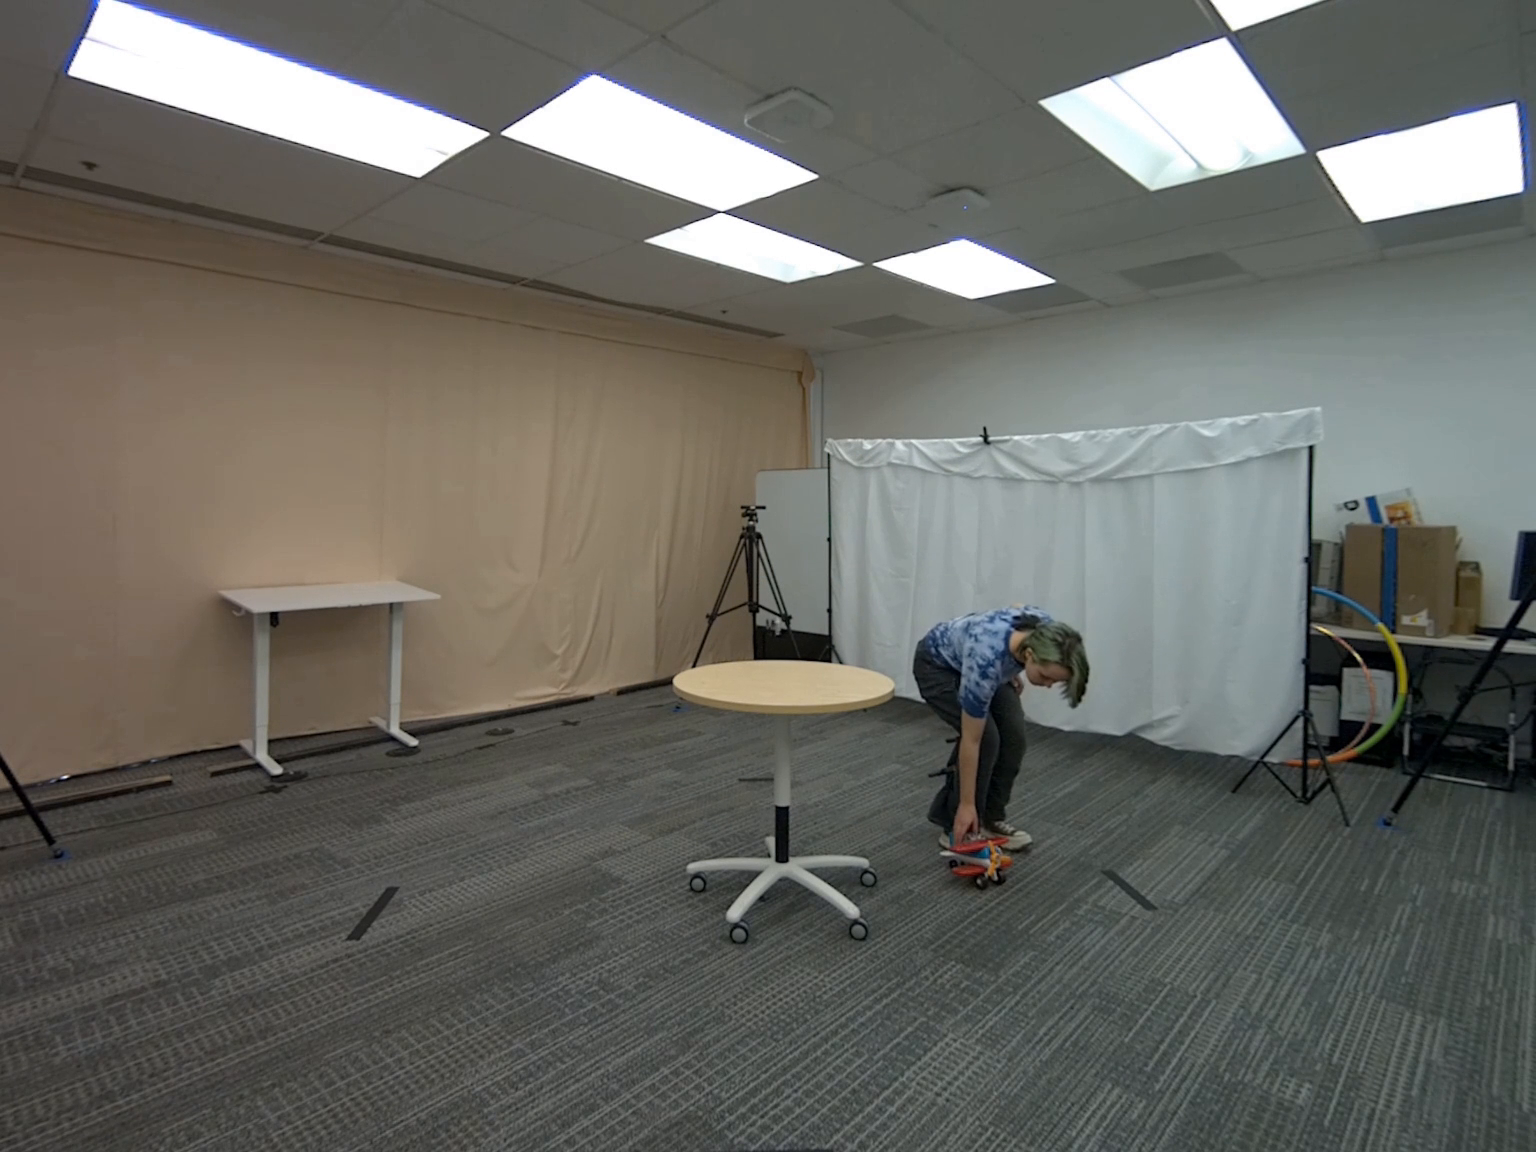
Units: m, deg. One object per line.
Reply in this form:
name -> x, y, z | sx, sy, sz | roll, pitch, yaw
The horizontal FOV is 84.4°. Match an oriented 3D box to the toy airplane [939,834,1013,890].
toy airplane -> 0.761, 1.057, 3.143 | 0.267, 0.156, 0.244 | 5, 5, 35
